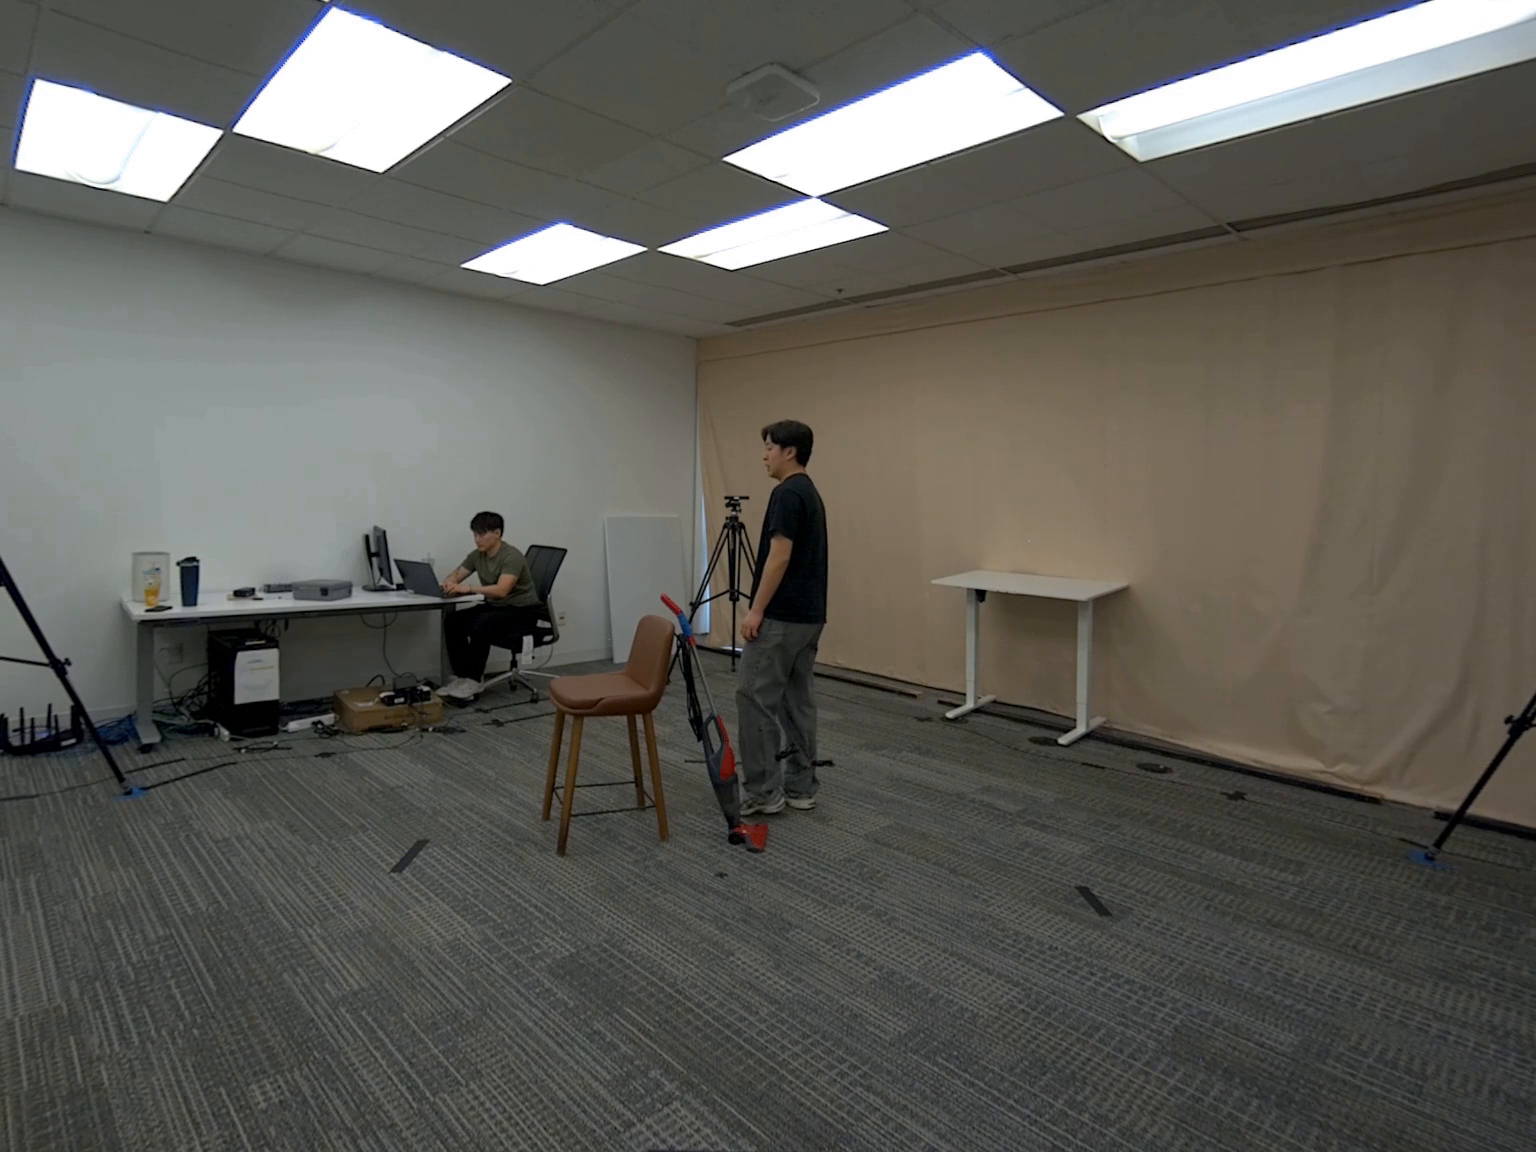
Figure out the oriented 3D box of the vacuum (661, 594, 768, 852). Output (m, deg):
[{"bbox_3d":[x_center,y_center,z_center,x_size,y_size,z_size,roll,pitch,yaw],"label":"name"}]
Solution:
[{"bbox_3d":[-0.267,0.573,3.440,0.144,1.050,0.252,-19,-1,1],"label":"vacuum"}]
